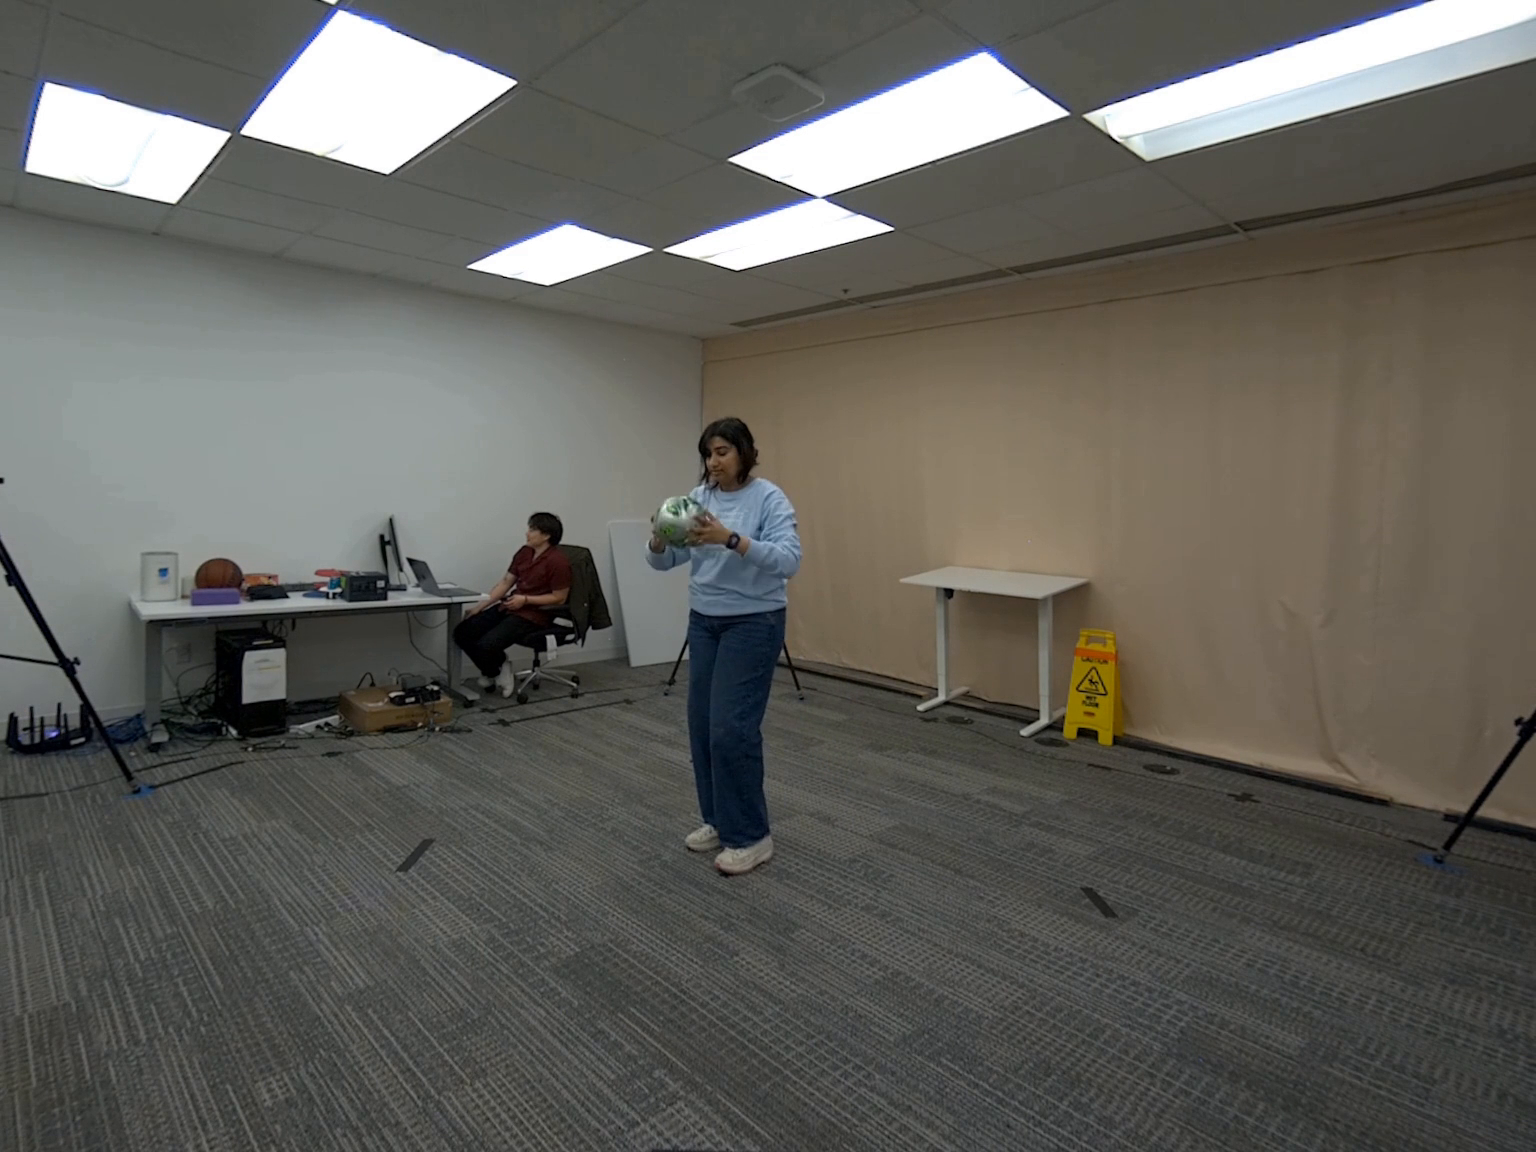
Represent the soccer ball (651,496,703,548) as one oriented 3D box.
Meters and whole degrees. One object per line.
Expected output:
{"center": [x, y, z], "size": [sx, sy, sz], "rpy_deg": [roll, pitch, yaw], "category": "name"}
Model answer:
{"center": [-0.319, -0.193, 2.966], "size": [0.187, 0.187, 0.188], "rpy_deg": [1, 4, -1], "category": "soccer ball"}
